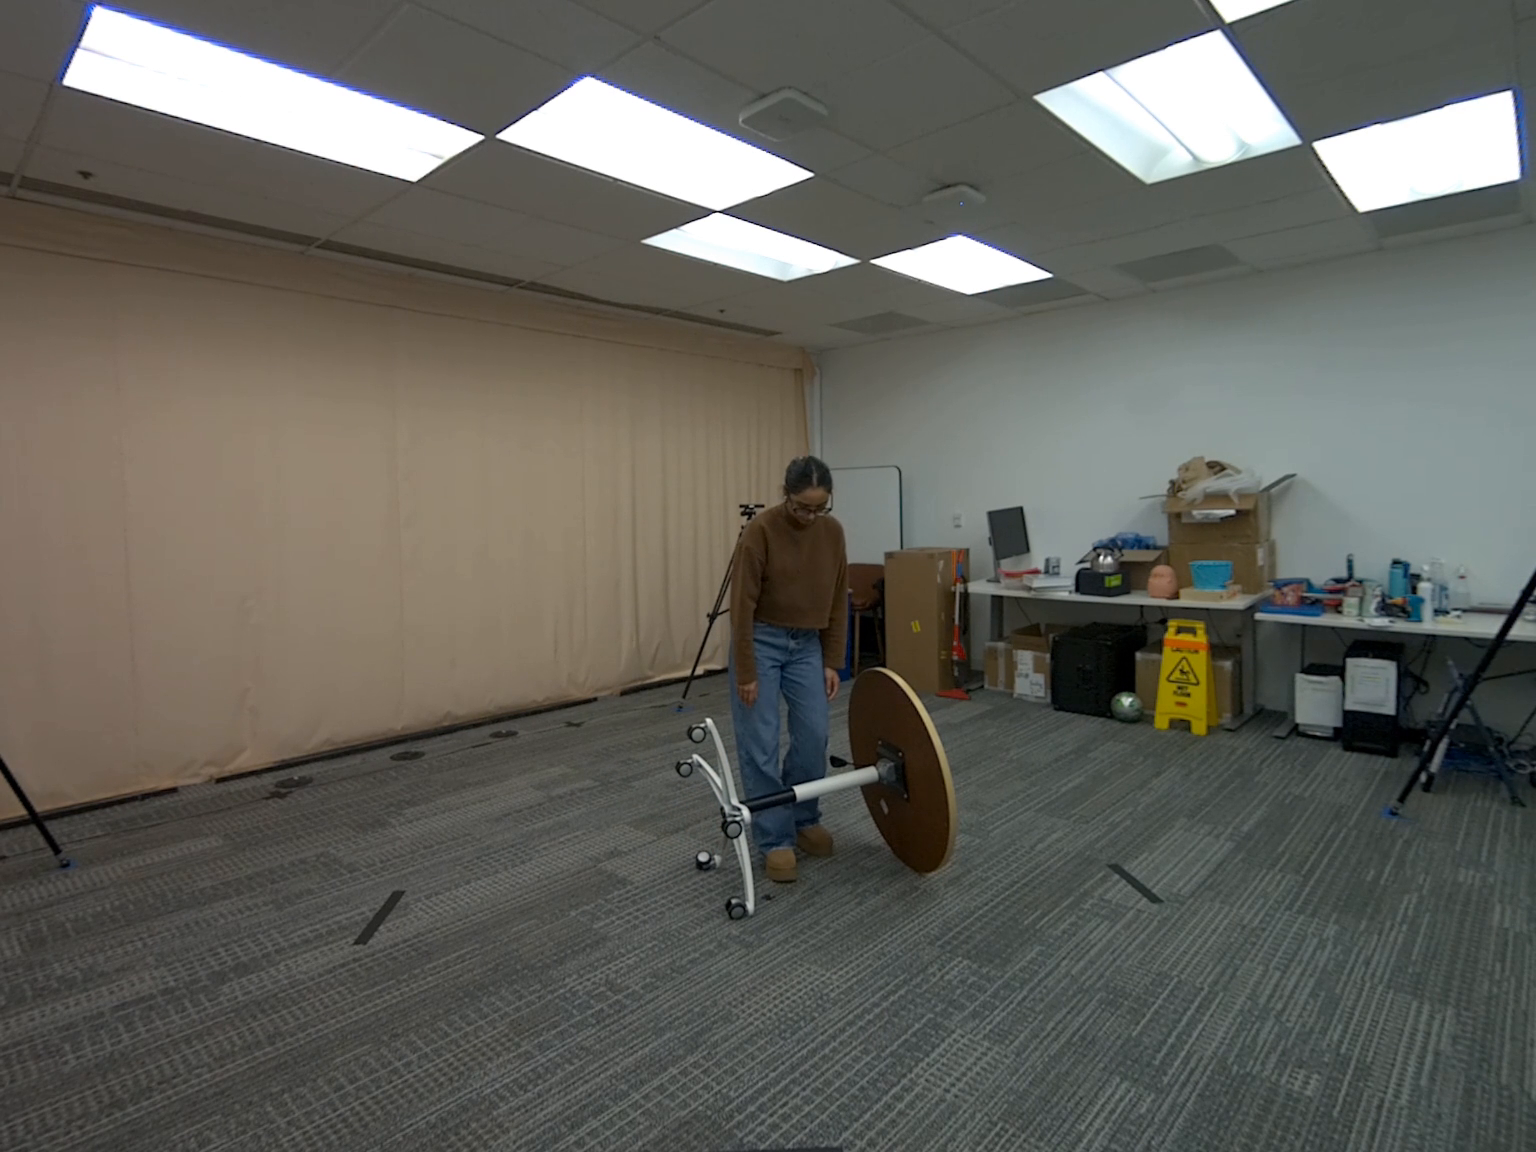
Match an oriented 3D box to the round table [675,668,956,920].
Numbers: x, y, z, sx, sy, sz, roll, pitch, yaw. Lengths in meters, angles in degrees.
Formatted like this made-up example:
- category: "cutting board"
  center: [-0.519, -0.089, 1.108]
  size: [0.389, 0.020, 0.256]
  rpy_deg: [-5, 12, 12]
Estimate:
- category: "round table"
  center: [0.131, 0.802, 3.110]
  size: [0.782, 0.761, 0.779]
  rpy_deg: [-10, 6, -17]
